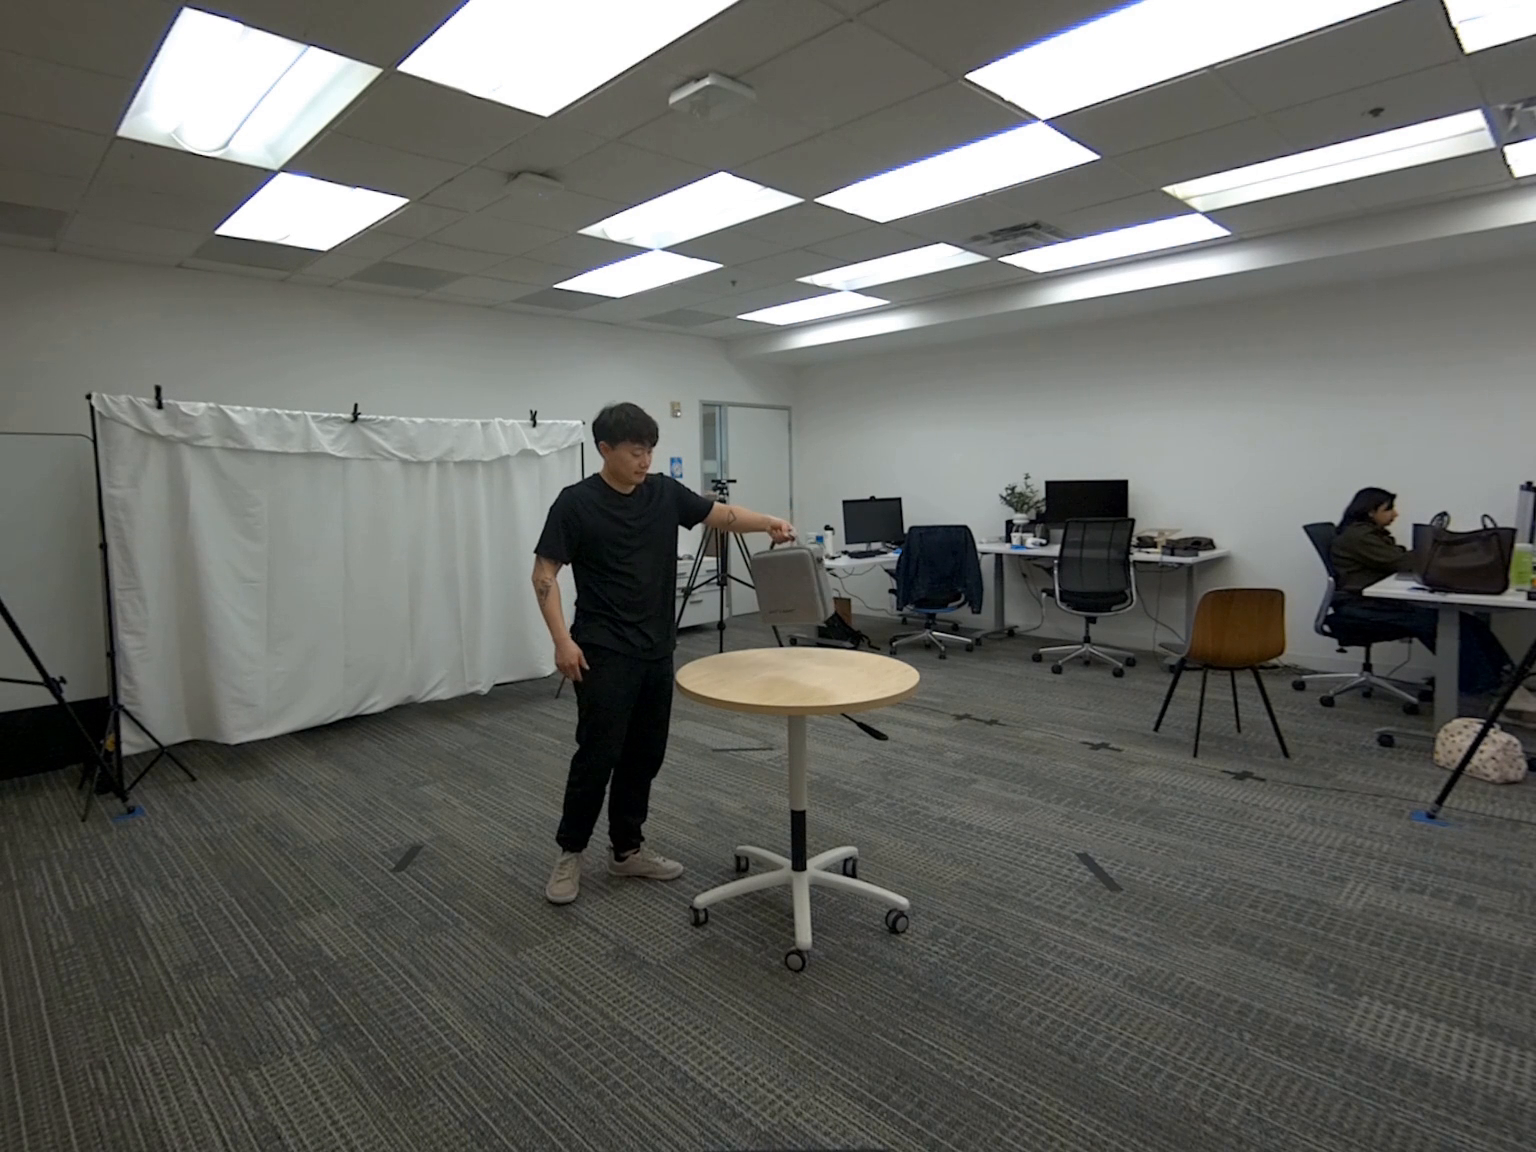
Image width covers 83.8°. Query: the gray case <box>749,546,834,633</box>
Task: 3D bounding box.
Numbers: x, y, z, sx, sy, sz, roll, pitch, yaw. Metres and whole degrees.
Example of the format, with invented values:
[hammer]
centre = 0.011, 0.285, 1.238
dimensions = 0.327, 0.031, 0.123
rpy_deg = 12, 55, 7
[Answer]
[gray case]
centre = 0.069, 0.028, 2.847
dimensions = 0.263, 0.259, 0.102
rpy_deg = -6, 7, 37
